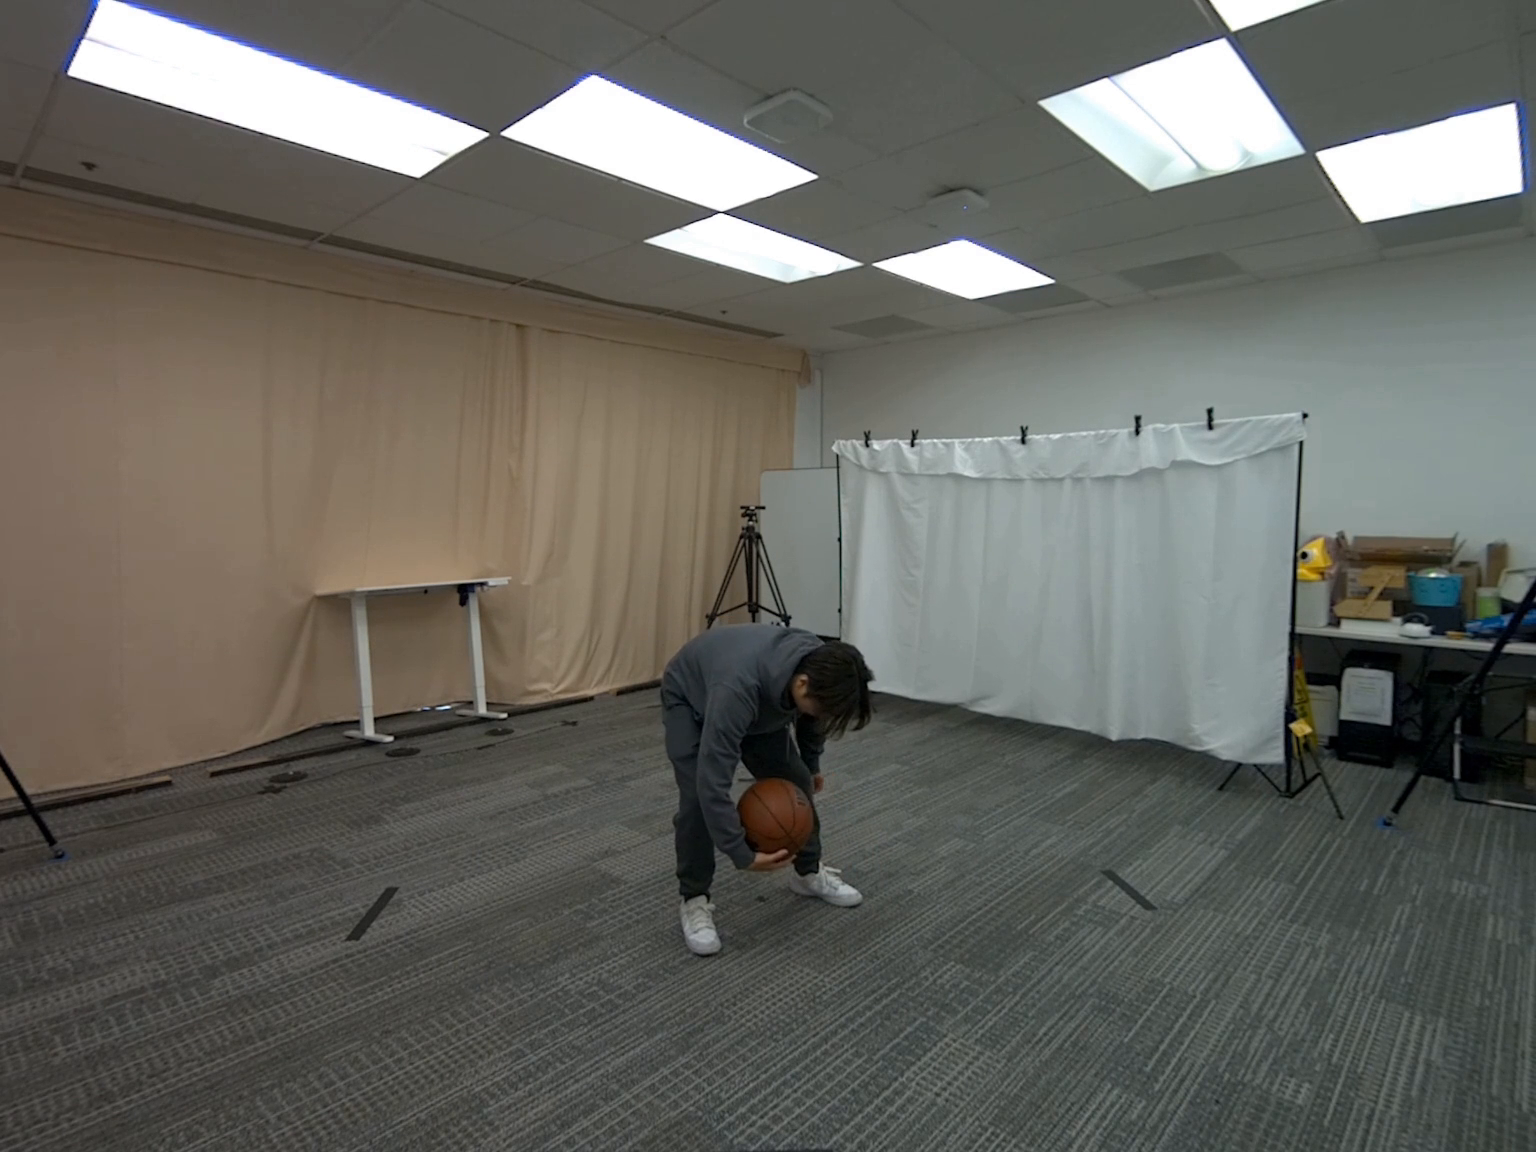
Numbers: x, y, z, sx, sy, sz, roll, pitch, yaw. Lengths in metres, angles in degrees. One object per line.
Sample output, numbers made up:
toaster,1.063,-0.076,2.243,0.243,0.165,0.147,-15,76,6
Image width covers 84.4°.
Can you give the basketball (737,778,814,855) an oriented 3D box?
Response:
basketball,0.019,0.735,2.569,0.236,0.235,0.237,0,4,-2
